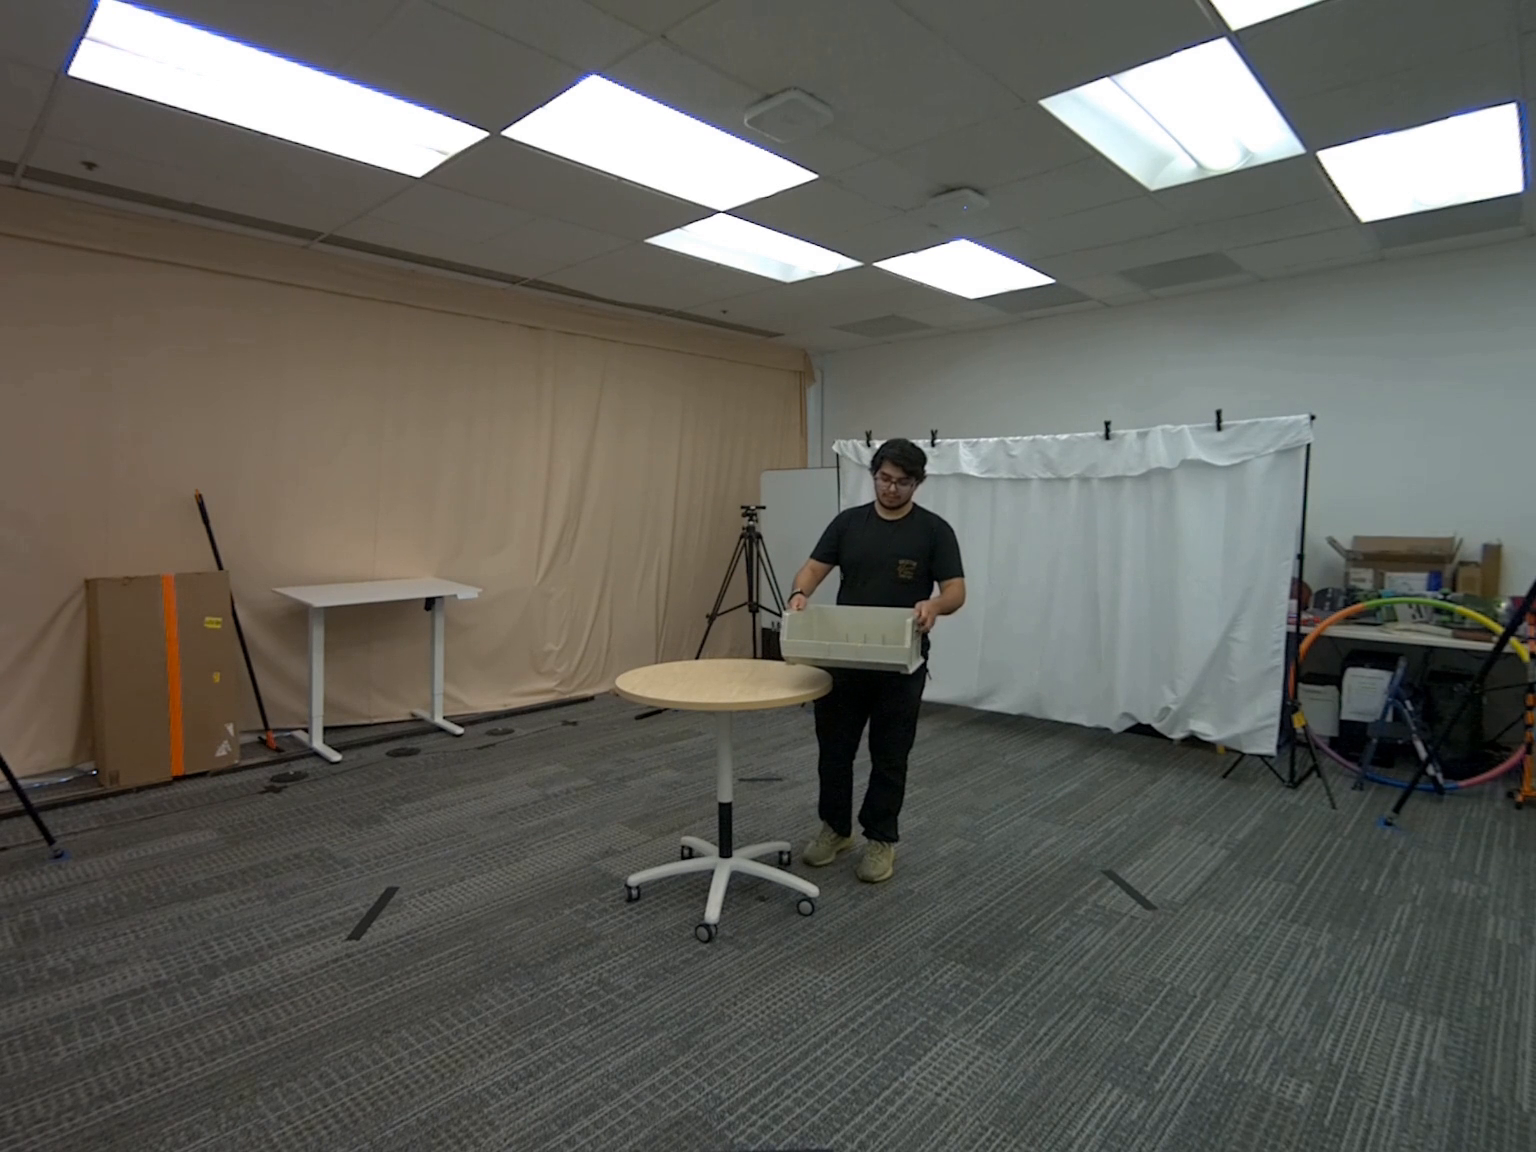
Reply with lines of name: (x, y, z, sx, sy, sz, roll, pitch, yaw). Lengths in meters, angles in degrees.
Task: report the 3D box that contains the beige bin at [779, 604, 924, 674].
beige bin: (0.294, 0.204, 2.838, 0.431, 0.189, 0.369, 1, 1, 20)
